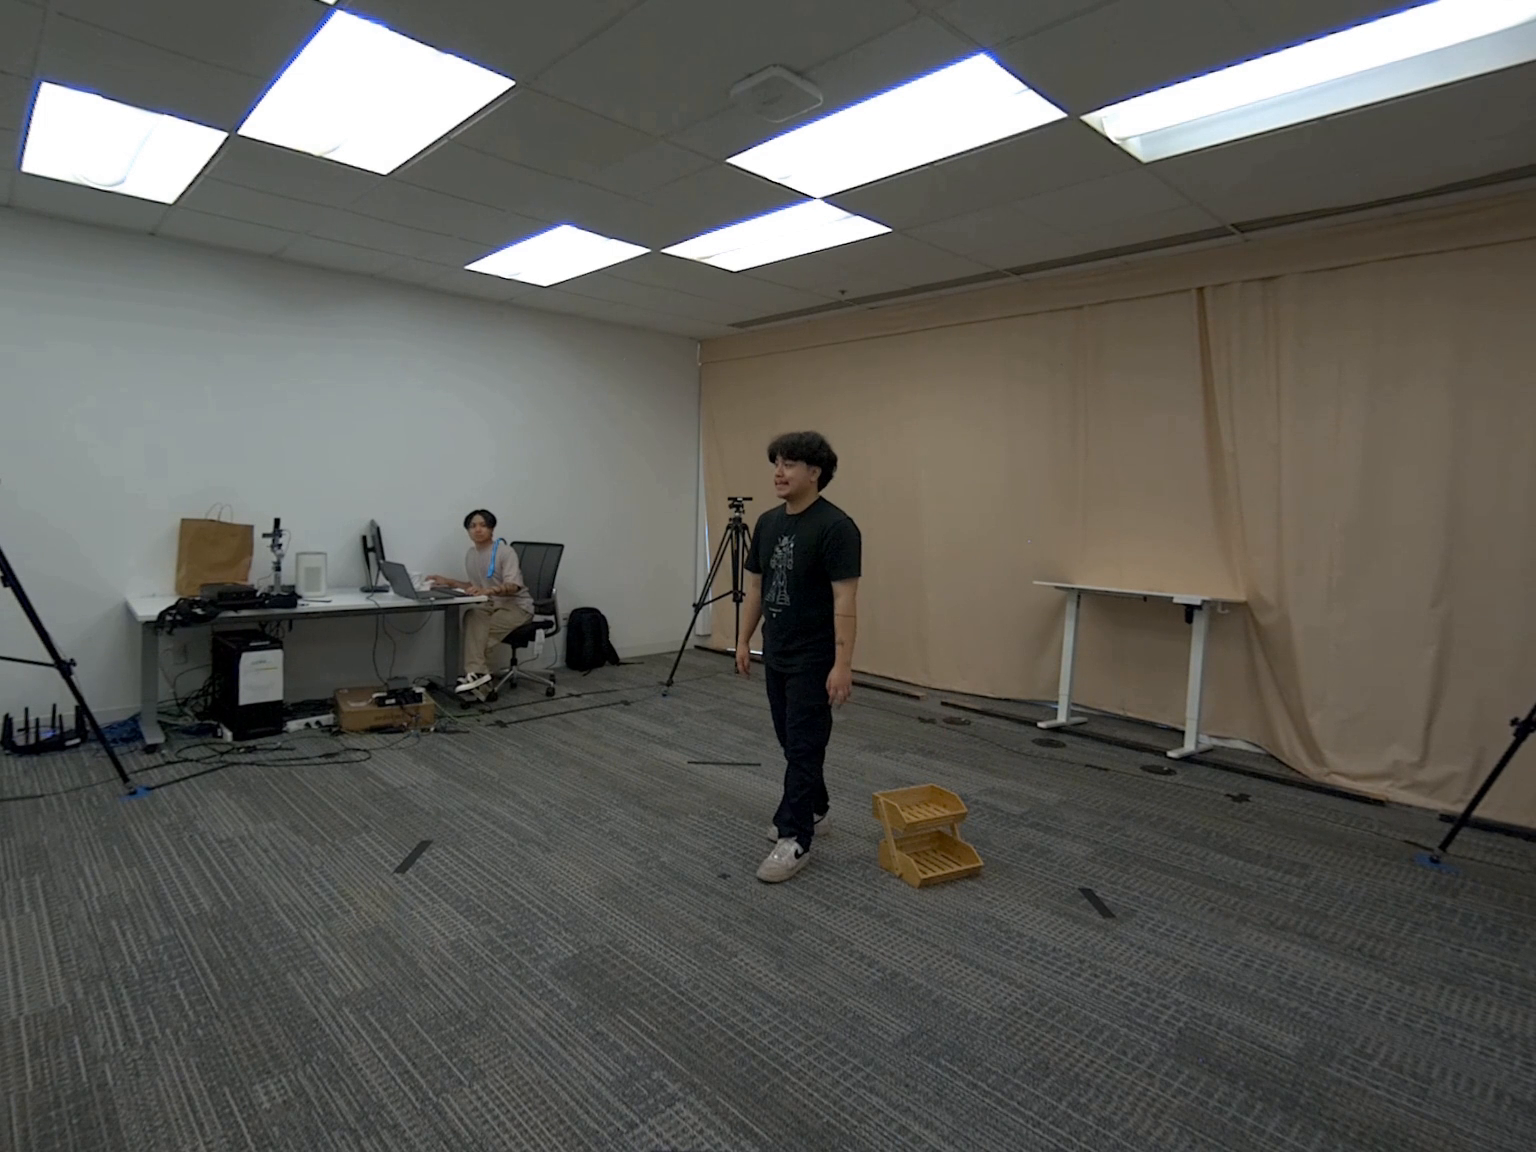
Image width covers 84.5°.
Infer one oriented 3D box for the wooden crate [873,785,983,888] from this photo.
[{"bbox_3d":[0.598,0.987,3.216,0.318,0.273,0.308,1,3,-28],"label":"wooden crate"}]
